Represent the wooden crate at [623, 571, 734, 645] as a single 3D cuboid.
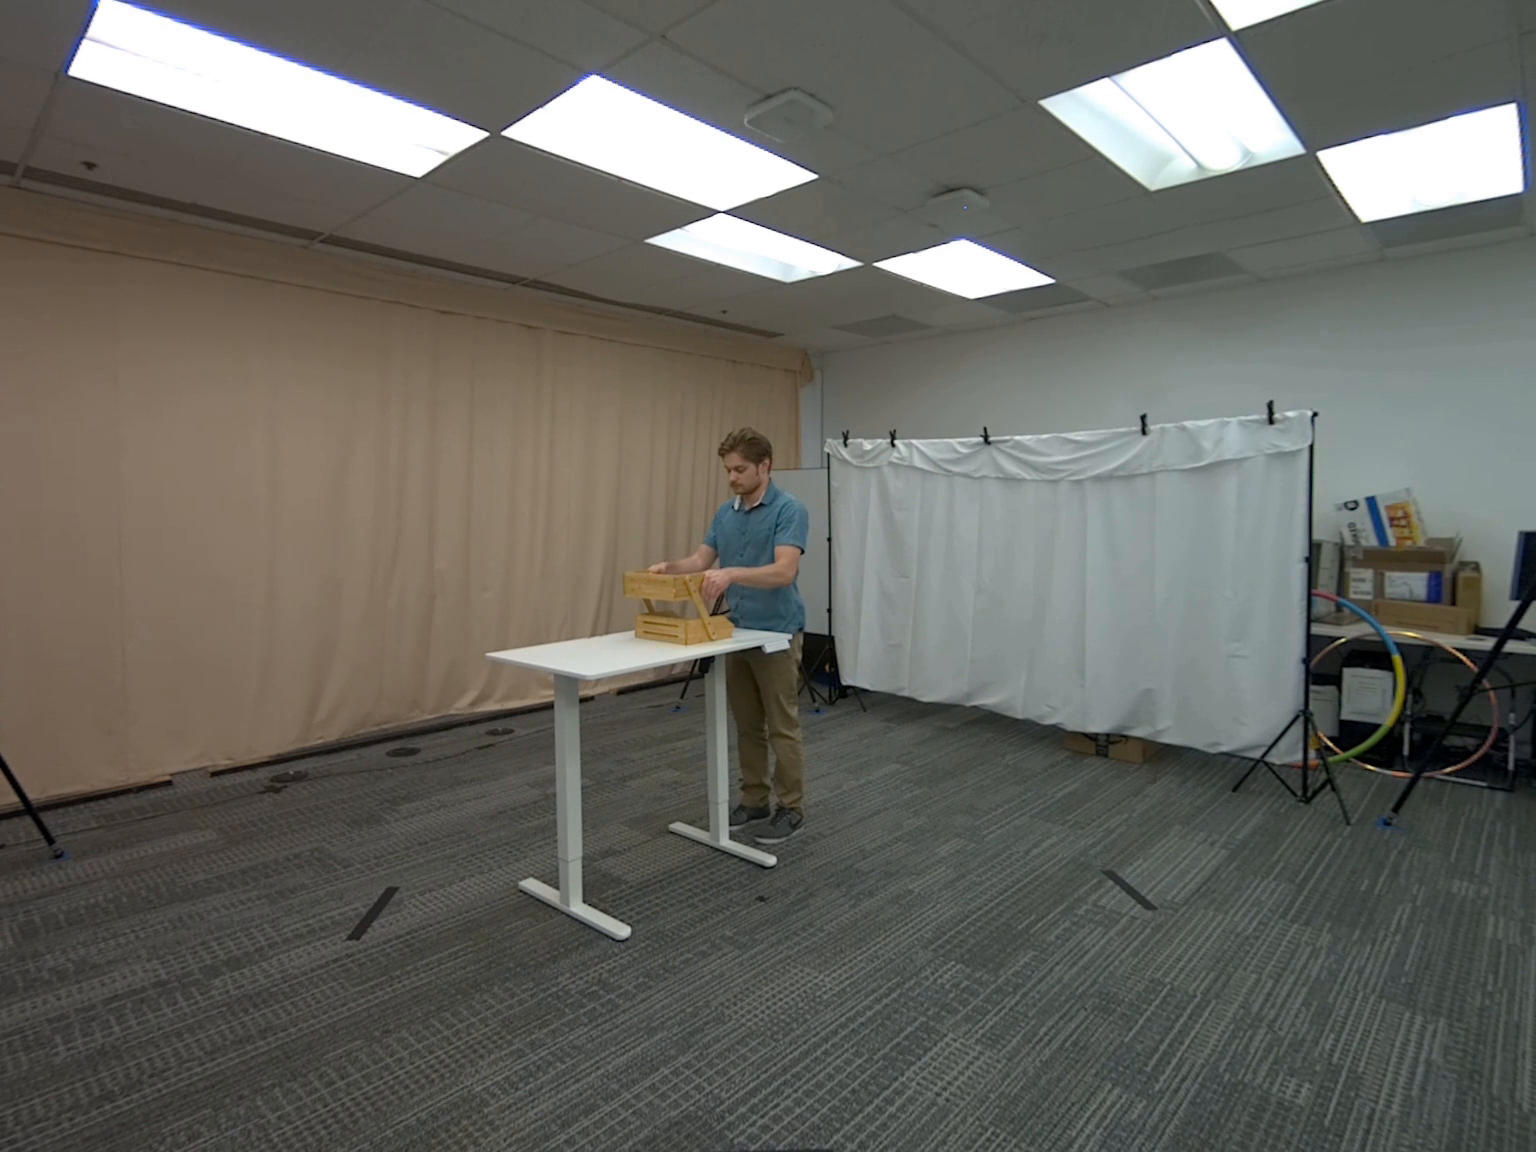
[{"bbox_3d":[-0.345,0.110,3.244,0.335,0.272,0.293,2,6,43],"label":"wooden crate"}]
